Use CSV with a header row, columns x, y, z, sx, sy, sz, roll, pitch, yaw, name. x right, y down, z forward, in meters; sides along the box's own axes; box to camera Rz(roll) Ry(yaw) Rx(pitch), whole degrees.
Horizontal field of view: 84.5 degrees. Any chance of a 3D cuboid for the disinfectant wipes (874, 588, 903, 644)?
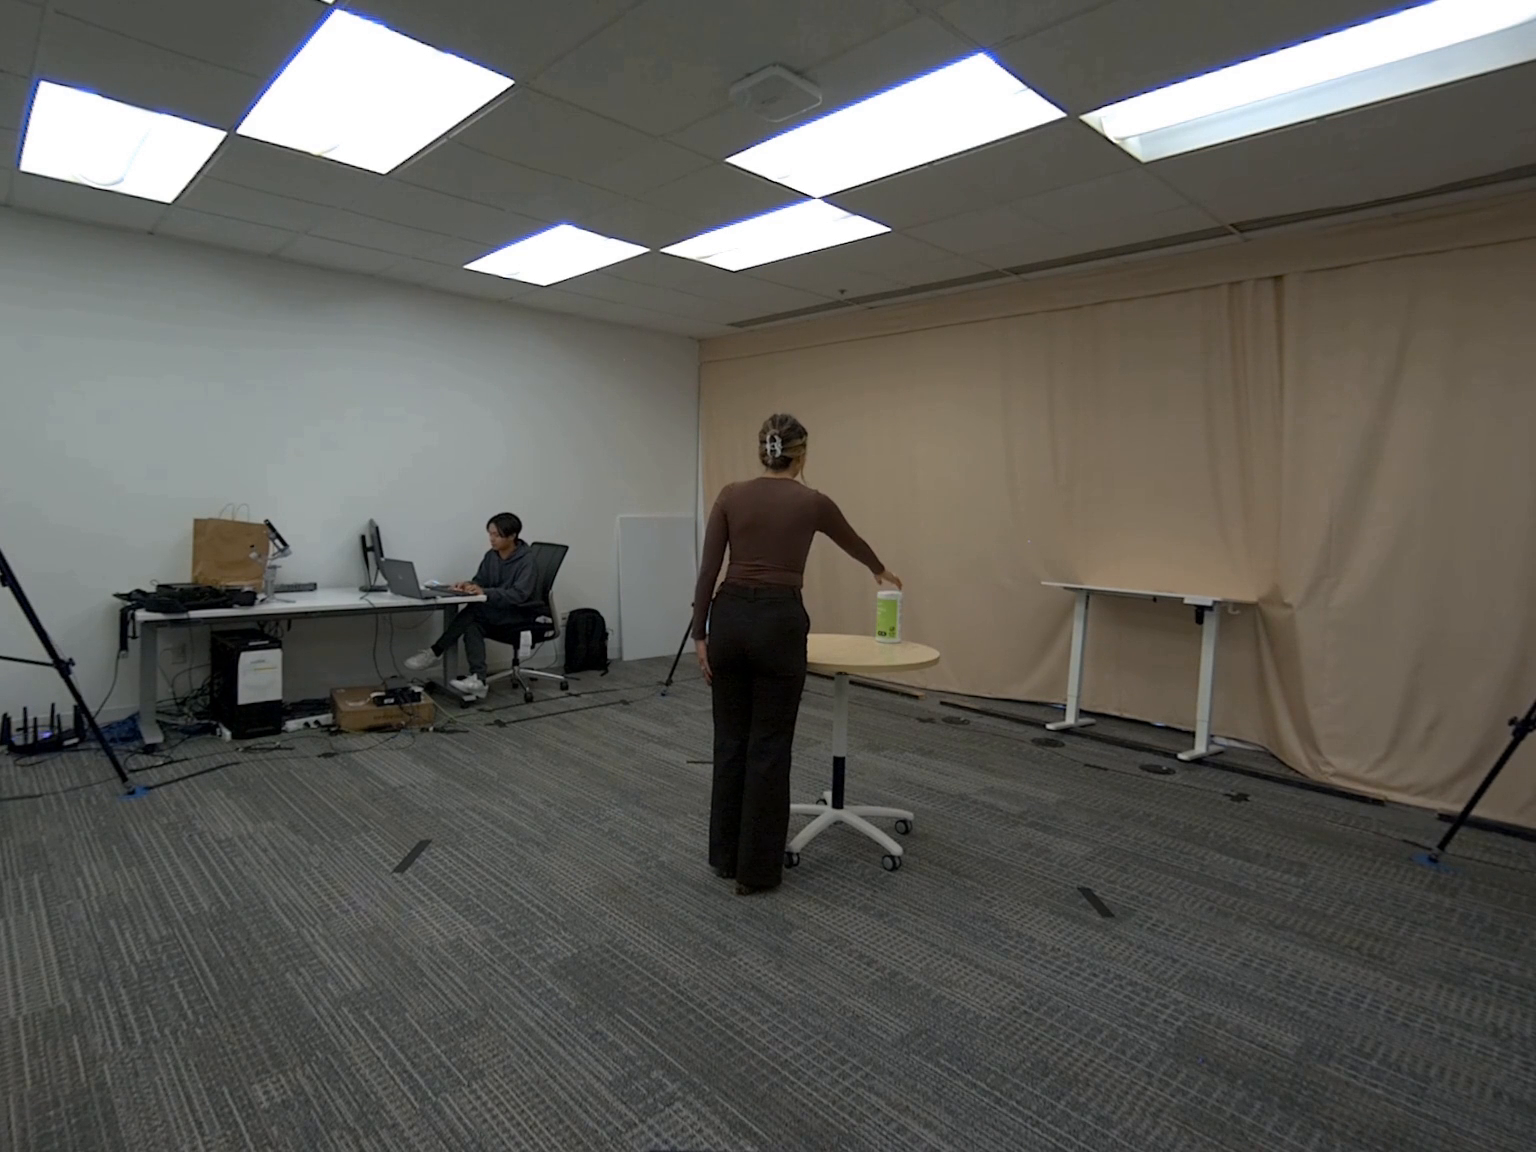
x,y,z,sx,sy,sz,roll,pitch,yaw,name
0.519,0.177,3.627,0.118,0.217,0.118,2,3,-1,disinfectant wipes
